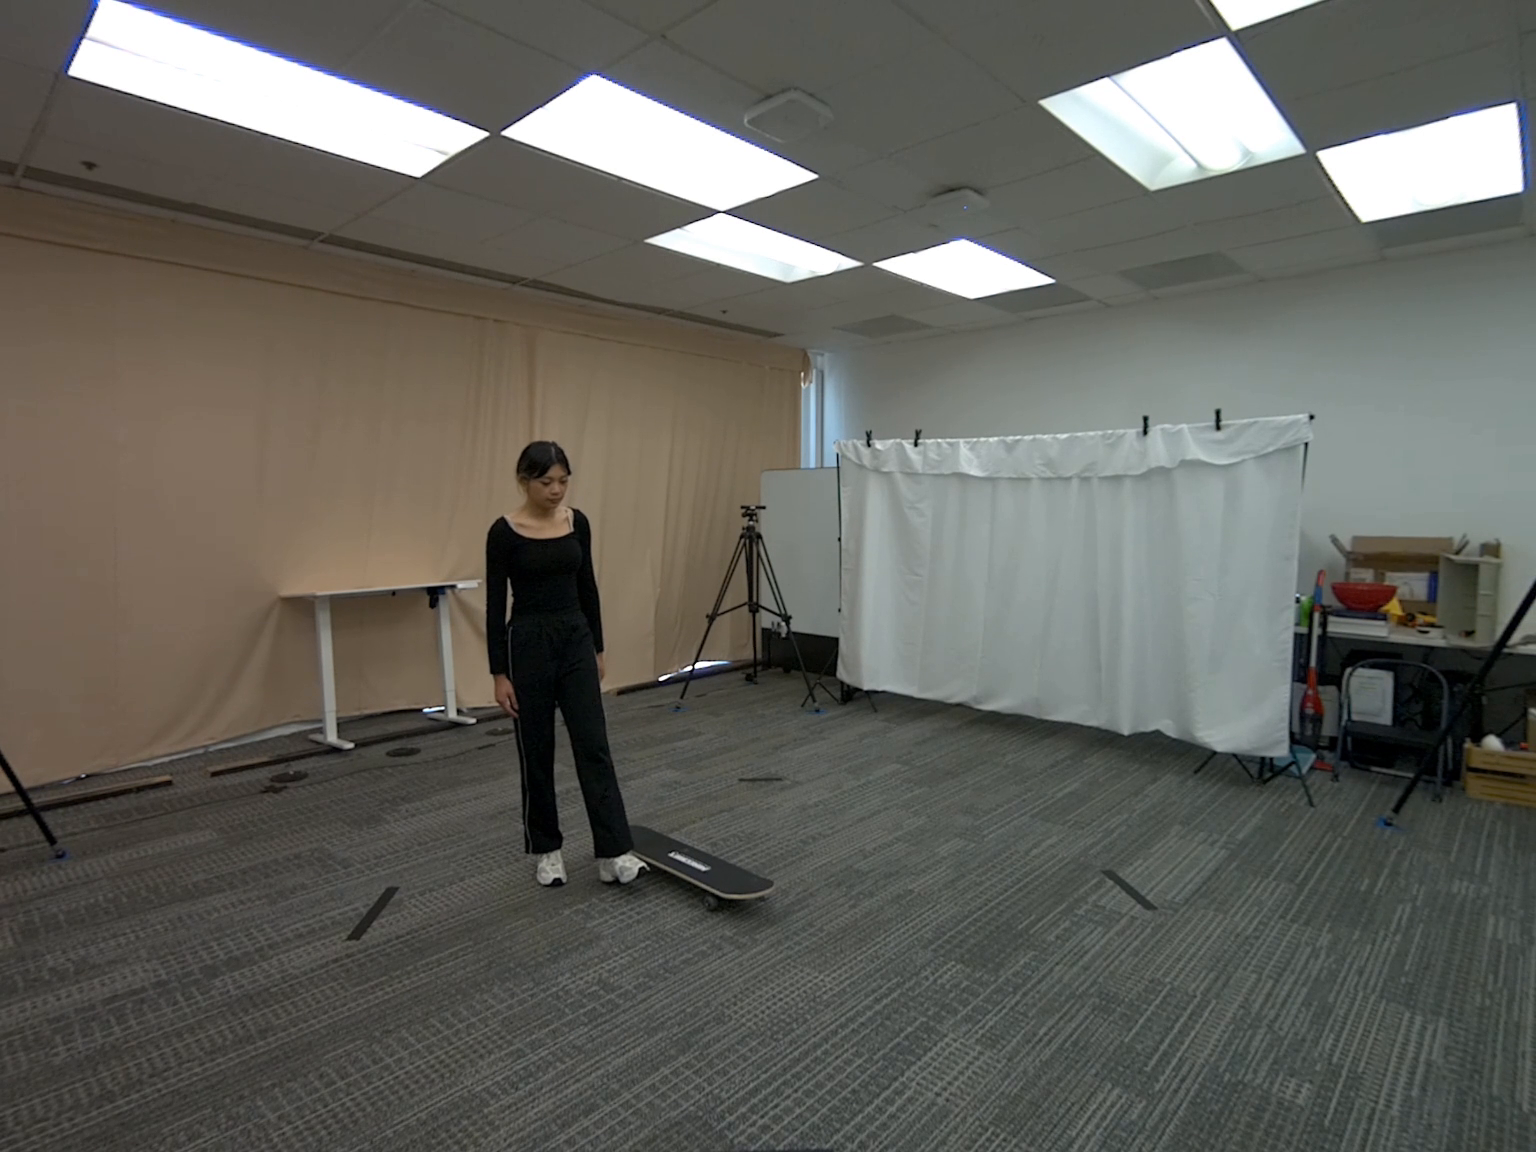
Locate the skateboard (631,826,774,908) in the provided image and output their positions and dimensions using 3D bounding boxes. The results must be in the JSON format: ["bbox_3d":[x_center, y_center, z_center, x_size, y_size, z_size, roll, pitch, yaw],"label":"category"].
[{"bbox_3d":[-0.290,1.080,3.098,0.812,0.110,0.187,4,6,44],"label":"skateboard"}]
